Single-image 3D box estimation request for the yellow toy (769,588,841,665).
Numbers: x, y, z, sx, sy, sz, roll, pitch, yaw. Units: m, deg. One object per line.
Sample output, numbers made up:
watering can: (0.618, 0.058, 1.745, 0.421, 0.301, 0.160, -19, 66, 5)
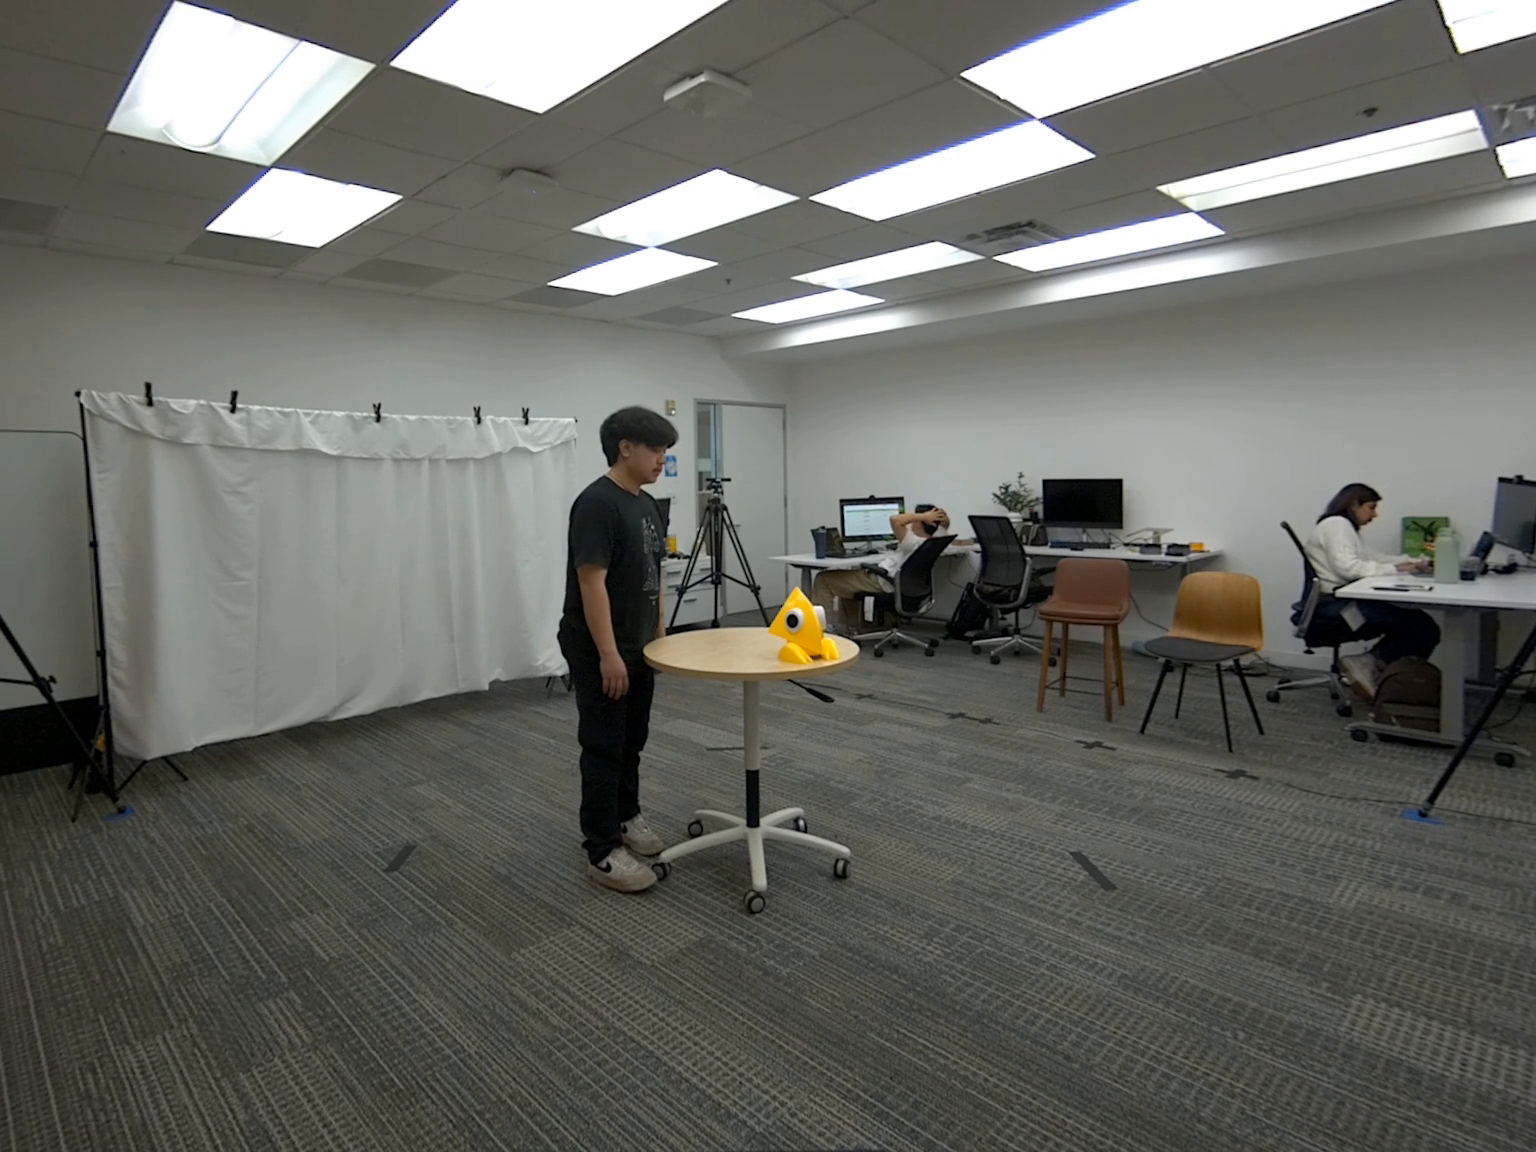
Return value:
yellow toy: (0.130, 0.156, 2.880, 0.200, 0.230, 0.198, -3, 5, -29)
